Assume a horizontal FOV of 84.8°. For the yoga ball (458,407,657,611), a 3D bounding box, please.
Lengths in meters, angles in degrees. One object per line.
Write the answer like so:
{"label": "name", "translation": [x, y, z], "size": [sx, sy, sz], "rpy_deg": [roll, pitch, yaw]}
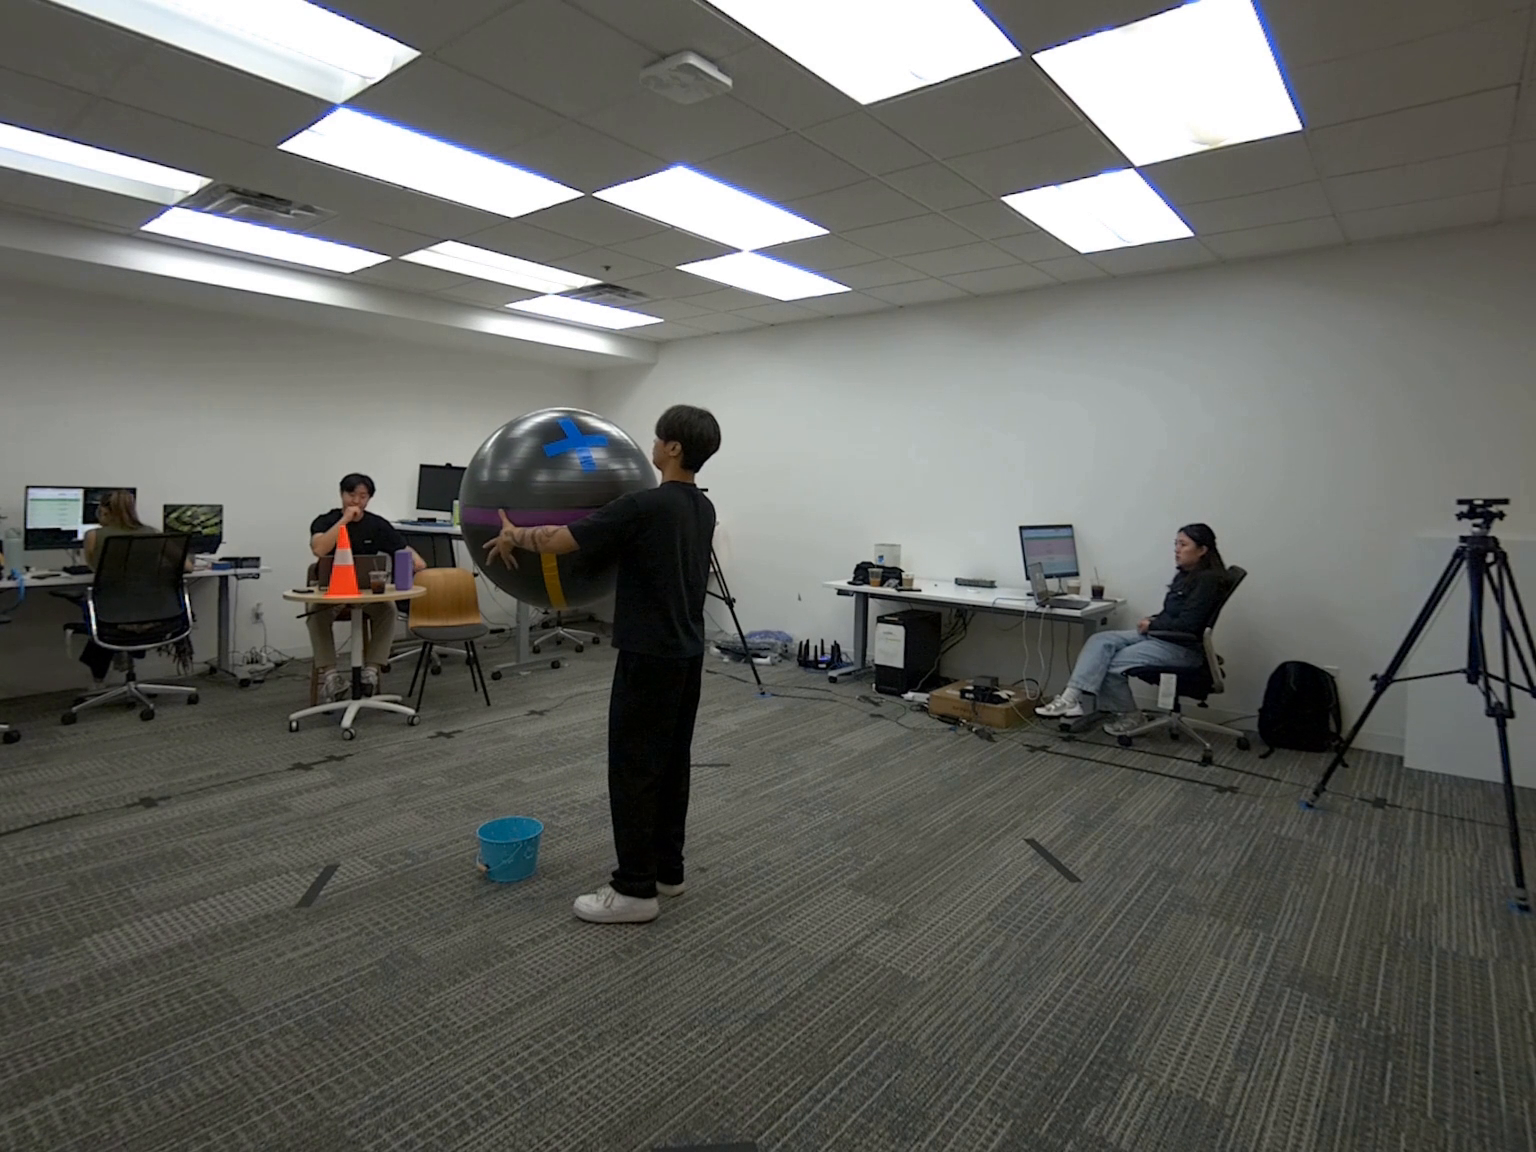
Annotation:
{"label": "yoga ball", "translation": [-0.813, -0.253, 3.239], "size": [0.757, 0.756, 0.762], "rpy_deg": [1, 4, -2]}
